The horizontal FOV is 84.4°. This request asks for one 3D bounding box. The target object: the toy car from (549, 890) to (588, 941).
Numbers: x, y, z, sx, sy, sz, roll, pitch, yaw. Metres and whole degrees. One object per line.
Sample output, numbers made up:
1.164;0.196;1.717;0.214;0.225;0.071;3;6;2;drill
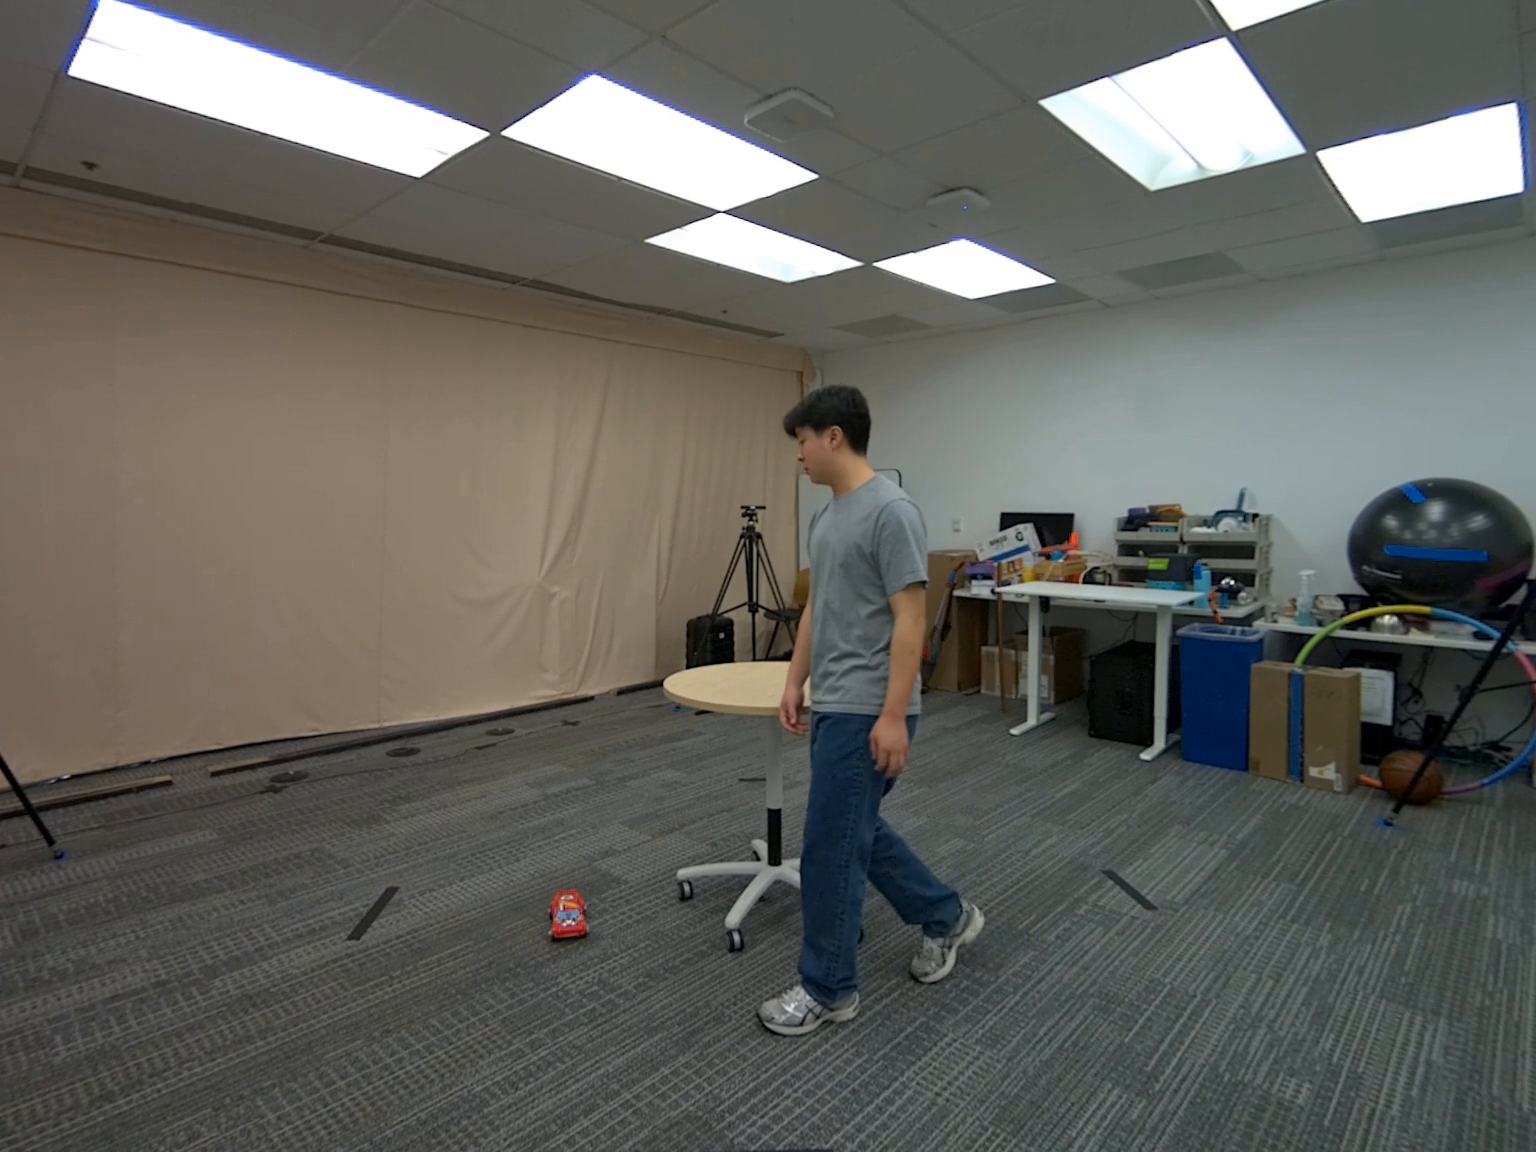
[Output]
-0.670;1.134;2.805;0.128;0.082;0.260;-1;16;-15;toy car
